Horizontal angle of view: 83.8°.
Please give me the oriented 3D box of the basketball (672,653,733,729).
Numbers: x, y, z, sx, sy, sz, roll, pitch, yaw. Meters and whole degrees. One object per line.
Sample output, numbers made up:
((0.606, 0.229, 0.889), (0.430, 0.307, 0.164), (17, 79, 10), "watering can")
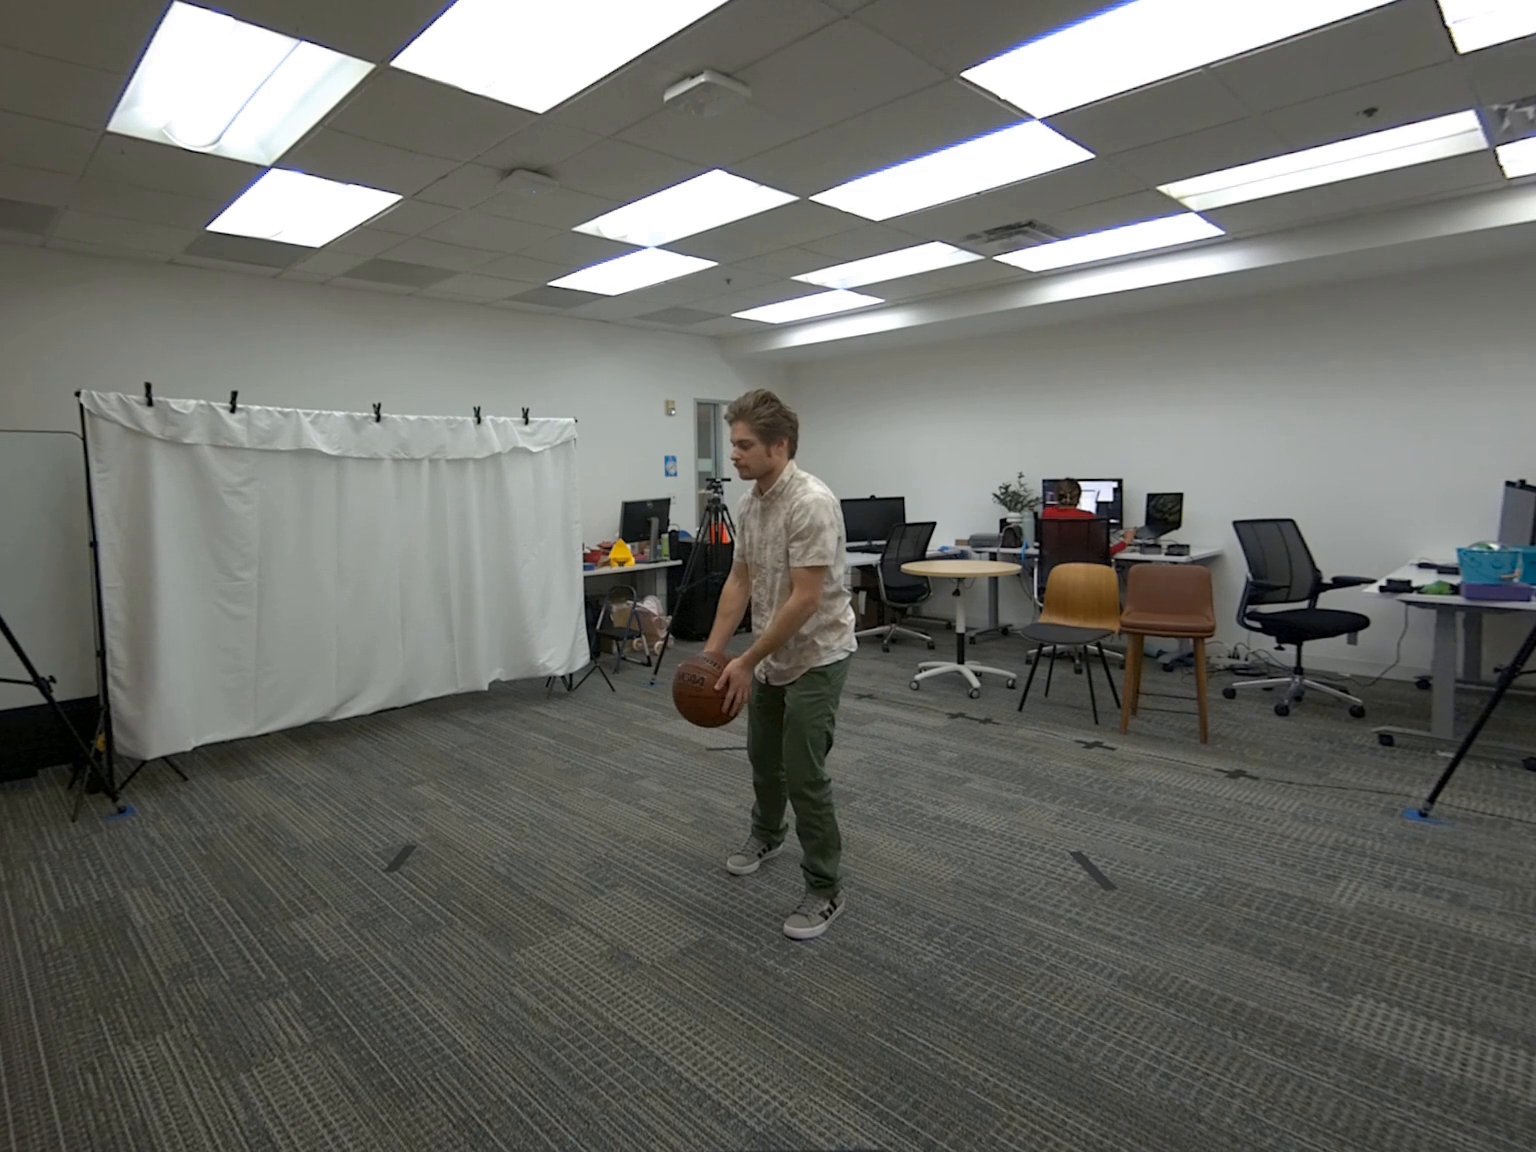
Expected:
((-0.183, 0.341, 2.709), (0.236, 0.235, 0.237), (-1, 5, -2), "basketball")
